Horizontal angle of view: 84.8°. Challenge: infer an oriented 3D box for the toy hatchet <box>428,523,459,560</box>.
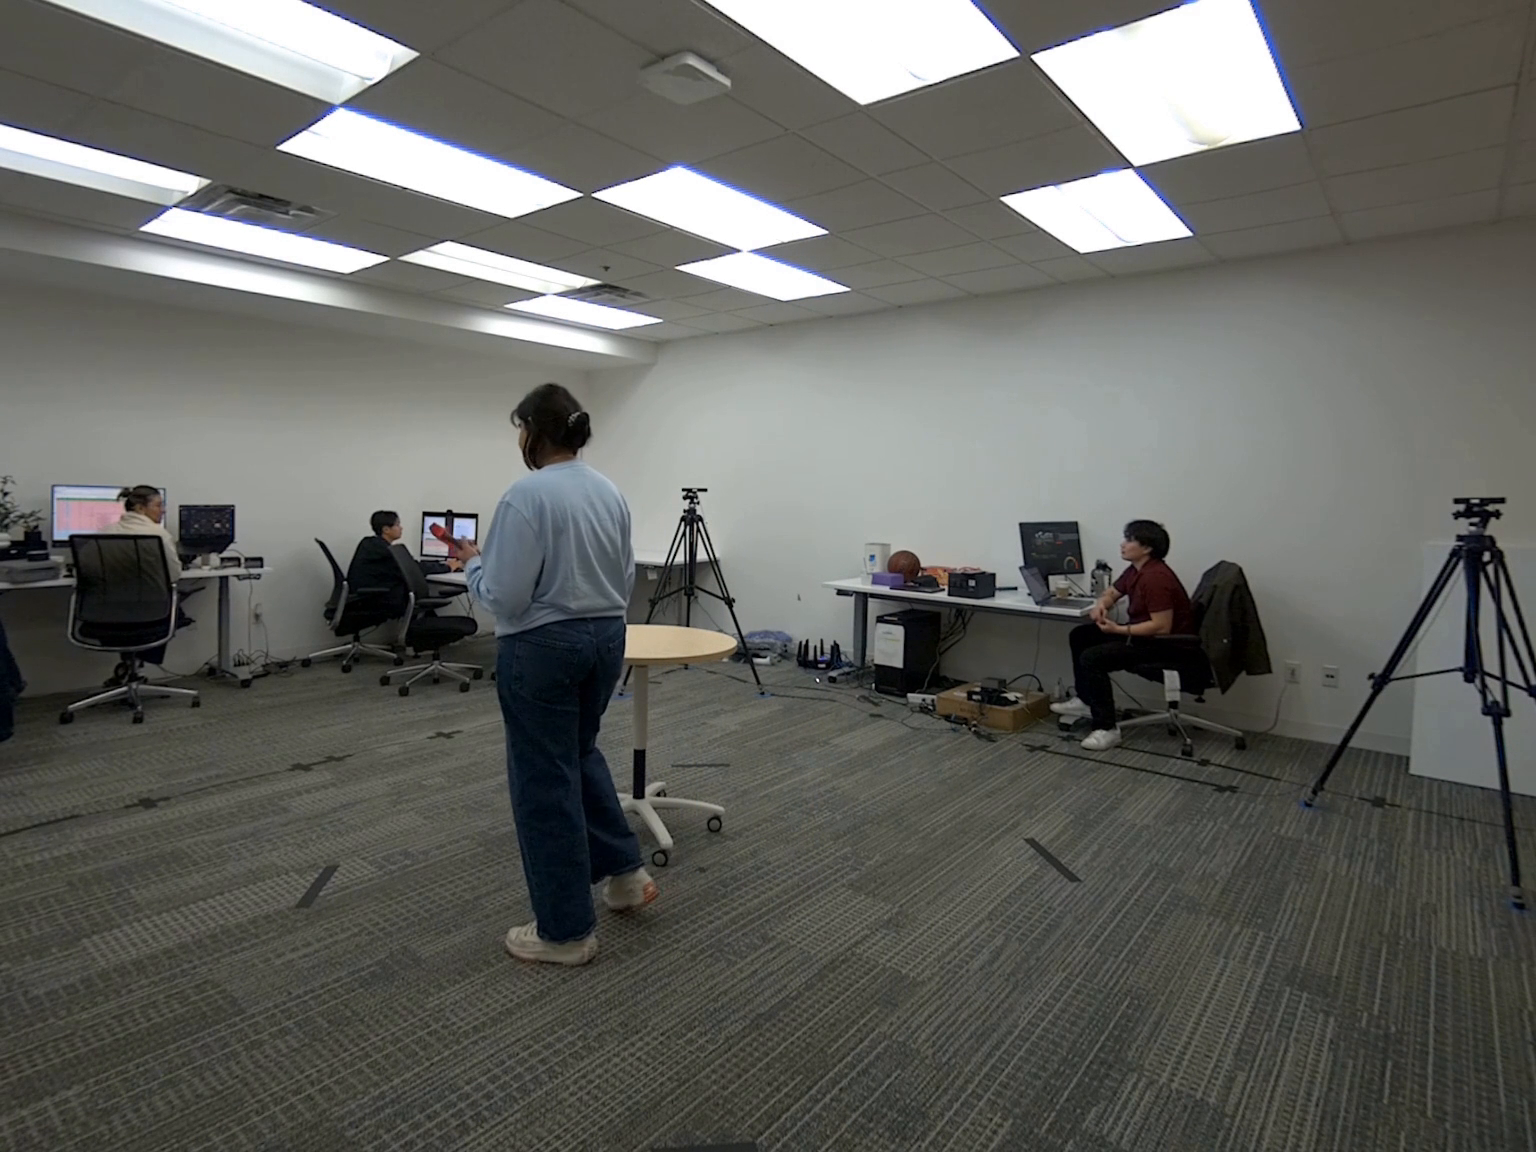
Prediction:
[{"bbox_3d":[-0.934,-0.071,2.598,0.266,0.030,0.132,37,-25,-11],"label":"toy hatchet"}]
